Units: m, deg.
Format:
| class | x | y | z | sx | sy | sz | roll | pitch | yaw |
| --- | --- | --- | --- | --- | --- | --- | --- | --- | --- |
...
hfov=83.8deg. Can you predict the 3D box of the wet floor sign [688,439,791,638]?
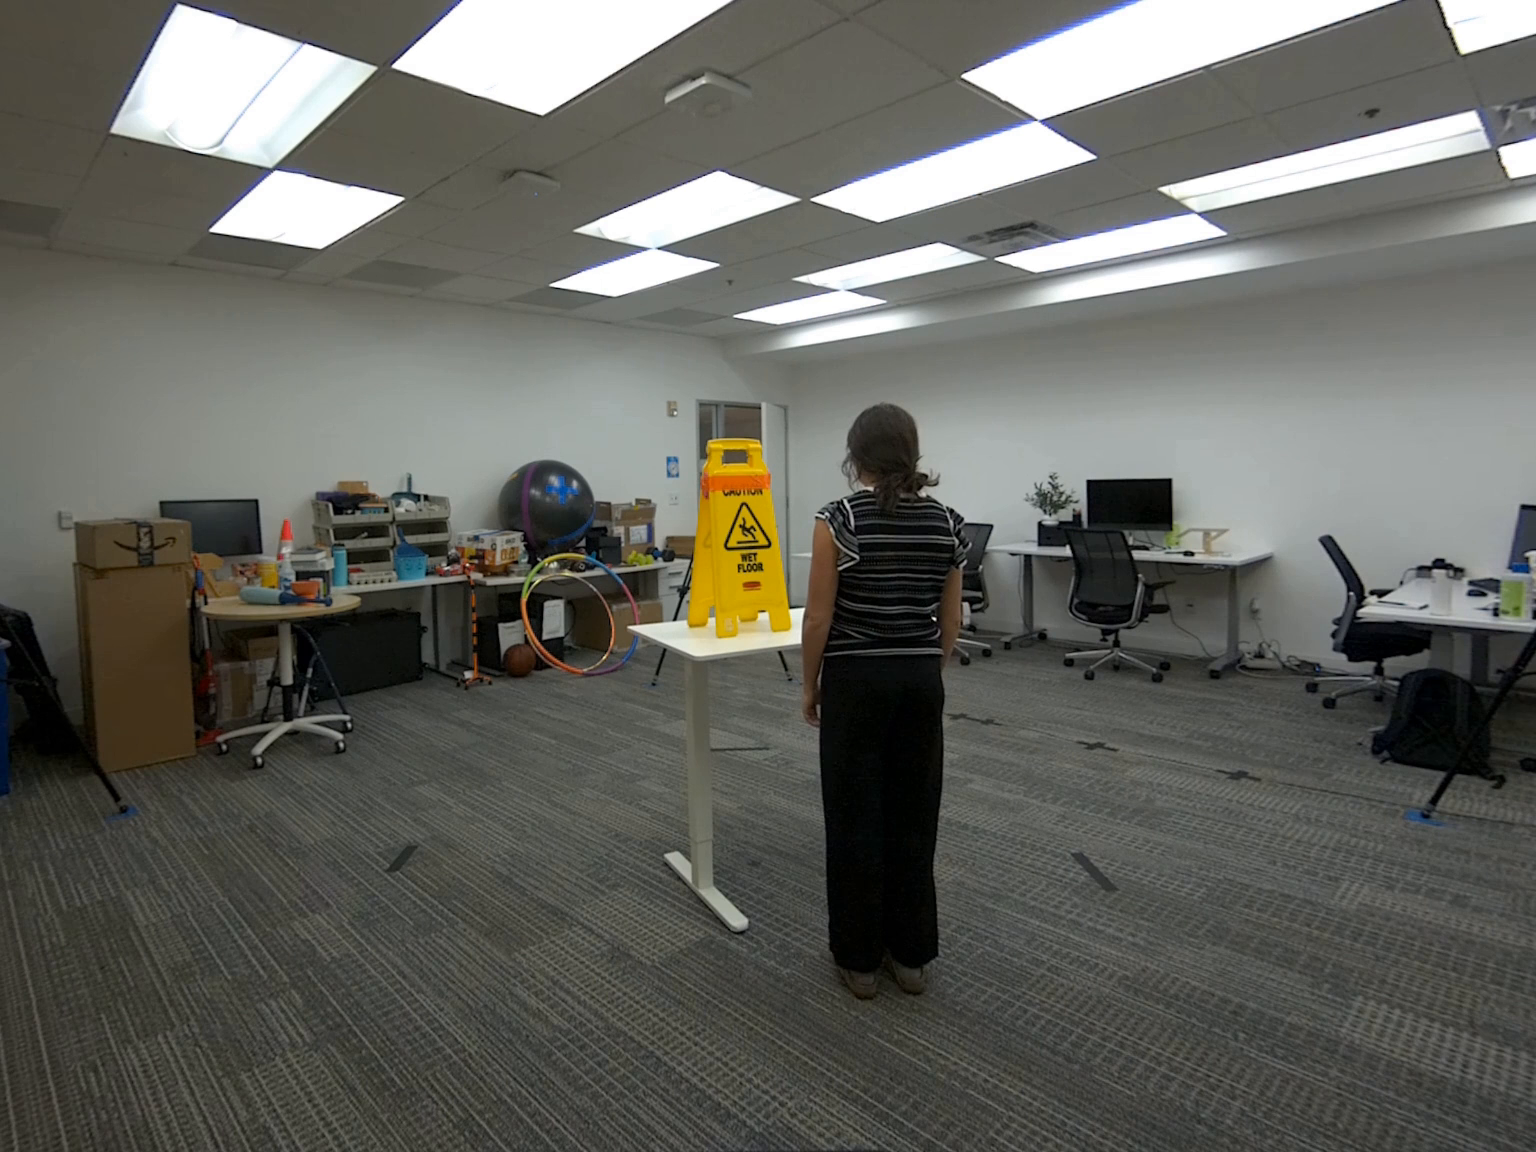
| class | x | y | z | sx | sy | sz | roll | pitch | yaw |
| --- | --- | --- | --- | --- | --- | --- | --- | --- | --- |
| wet floor sign | -0.108 | -0.141 | 2.931 | 0.276 | 0.644 | 0.297 | -2 | 3 | -28 |
